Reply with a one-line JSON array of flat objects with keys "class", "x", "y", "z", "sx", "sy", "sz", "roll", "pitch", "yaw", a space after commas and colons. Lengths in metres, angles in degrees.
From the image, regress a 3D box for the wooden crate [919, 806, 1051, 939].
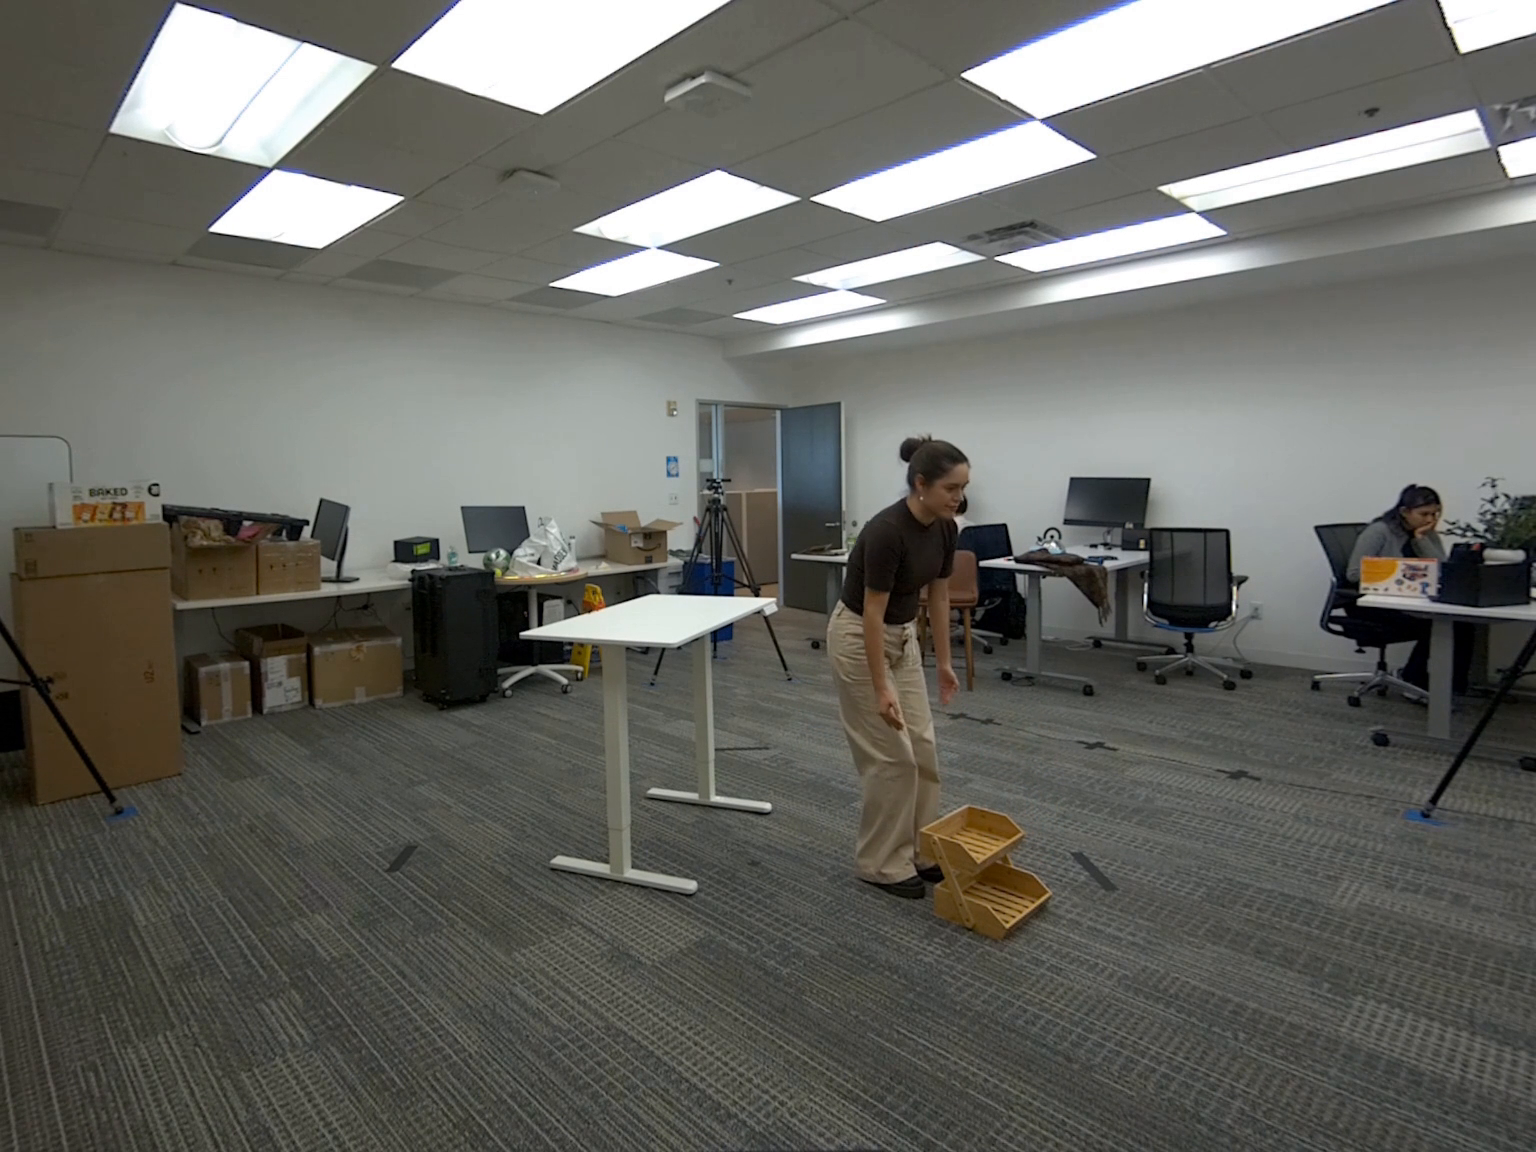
[{"class": "wooden crate", "x": 0.709, "y": 0.943, "z": 2.742, "sx": 0.311, "sy": 0.272, "sz": 0.316, "roll": 3, "pitch": 6, "yaw": 45}]
